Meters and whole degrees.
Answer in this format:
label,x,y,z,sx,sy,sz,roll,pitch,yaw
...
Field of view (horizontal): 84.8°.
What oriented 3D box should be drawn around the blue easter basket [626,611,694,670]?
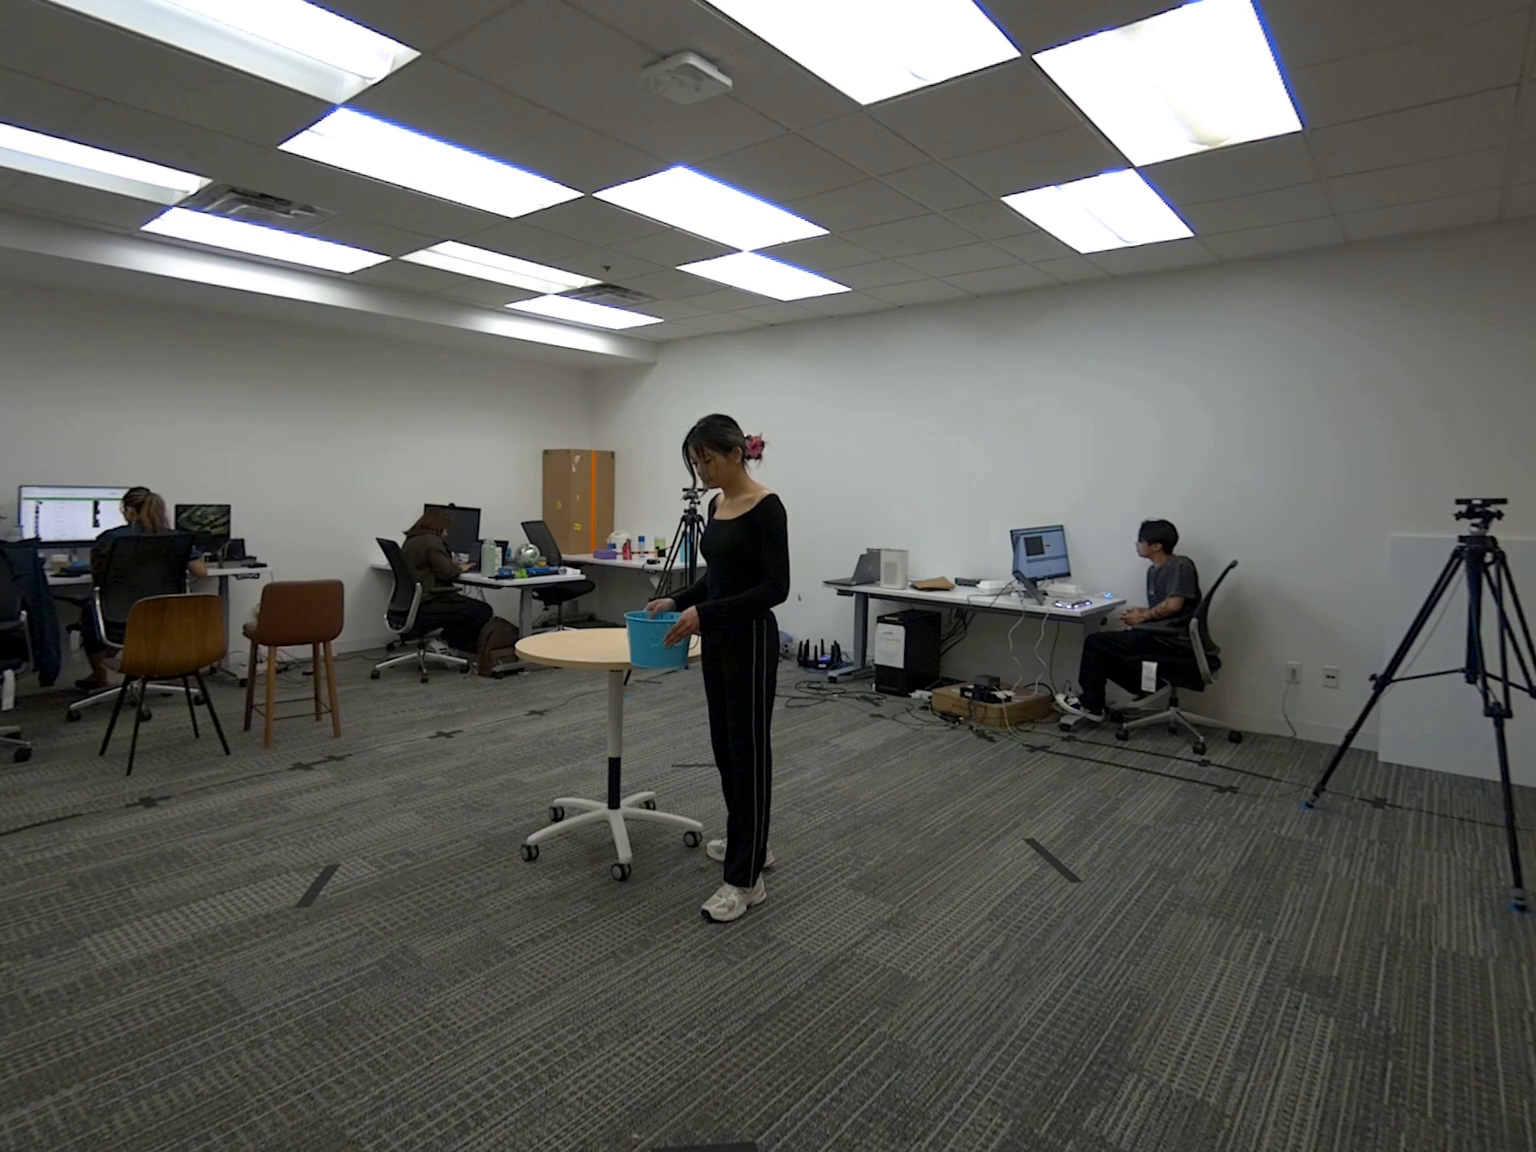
label,x,y,z,sx,sy,sz,roll,pitch,yaw
blue easter basket,-0.347,0.207,2.747,0.243,0.155,0.245,3,5,-2
